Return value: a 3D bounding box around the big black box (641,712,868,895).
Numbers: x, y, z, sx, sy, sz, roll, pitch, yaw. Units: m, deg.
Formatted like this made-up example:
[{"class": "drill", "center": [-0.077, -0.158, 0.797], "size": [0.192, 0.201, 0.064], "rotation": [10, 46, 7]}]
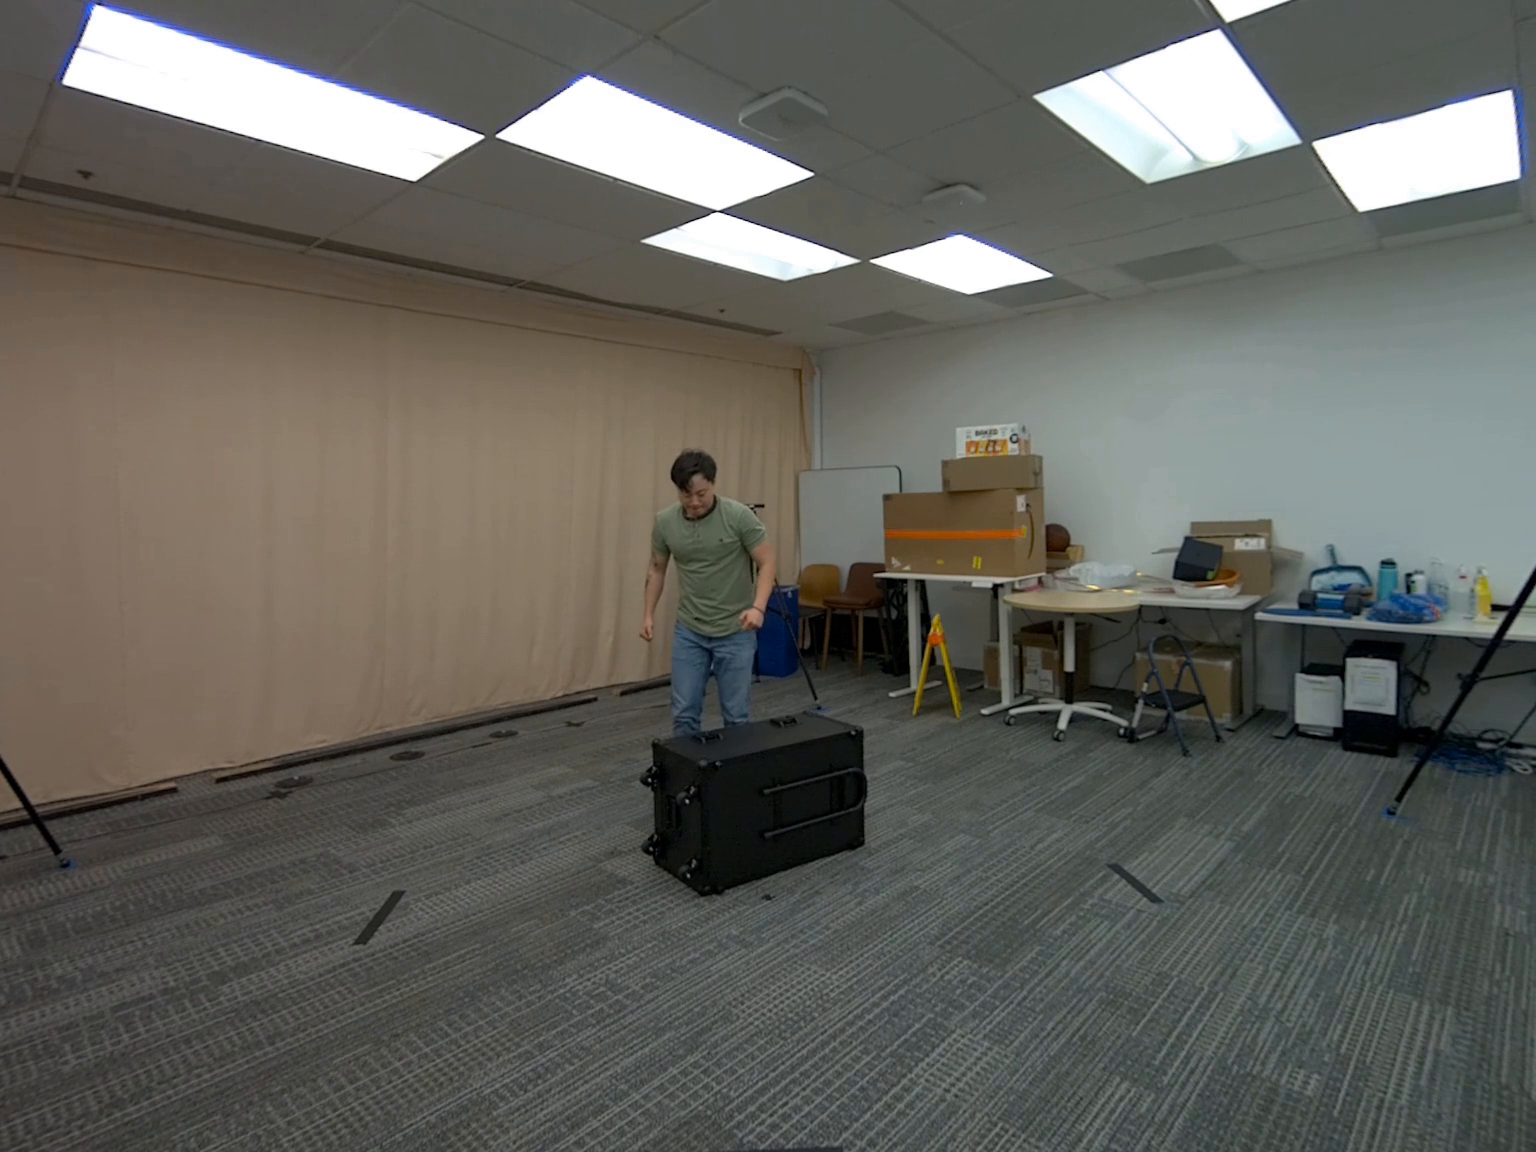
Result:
[{"class": "big black box", "center": [-0.043, 0.870, 3.310], "size": [0.837, 0.520, 0.408], "rotation": [-5, 5, -34]}]
